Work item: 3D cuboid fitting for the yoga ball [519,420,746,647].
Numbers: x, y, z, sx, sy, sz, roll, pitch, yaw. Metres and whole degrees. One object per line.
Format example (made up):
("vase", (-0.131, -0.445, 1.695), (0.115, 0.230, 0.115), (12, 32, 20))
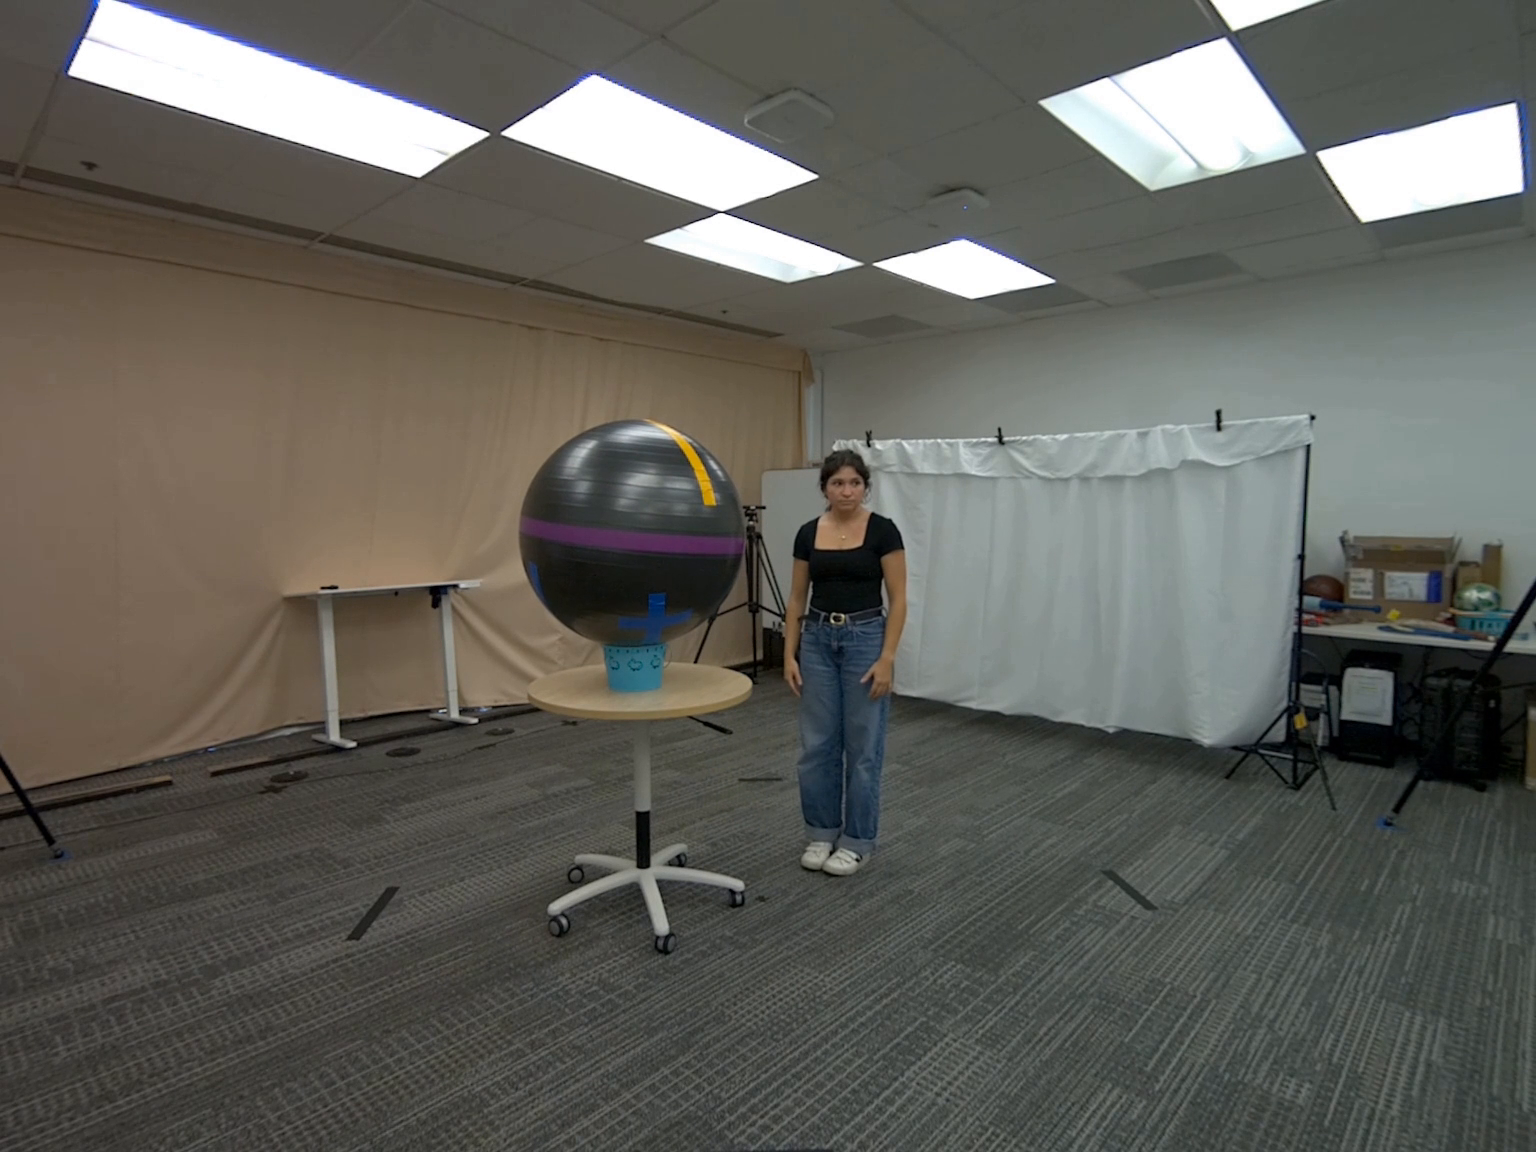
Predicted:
("yoga ball", (-0.465, -0.139, 2.835), (0.757, 0.756, 0.760), (0, 4, -2))
